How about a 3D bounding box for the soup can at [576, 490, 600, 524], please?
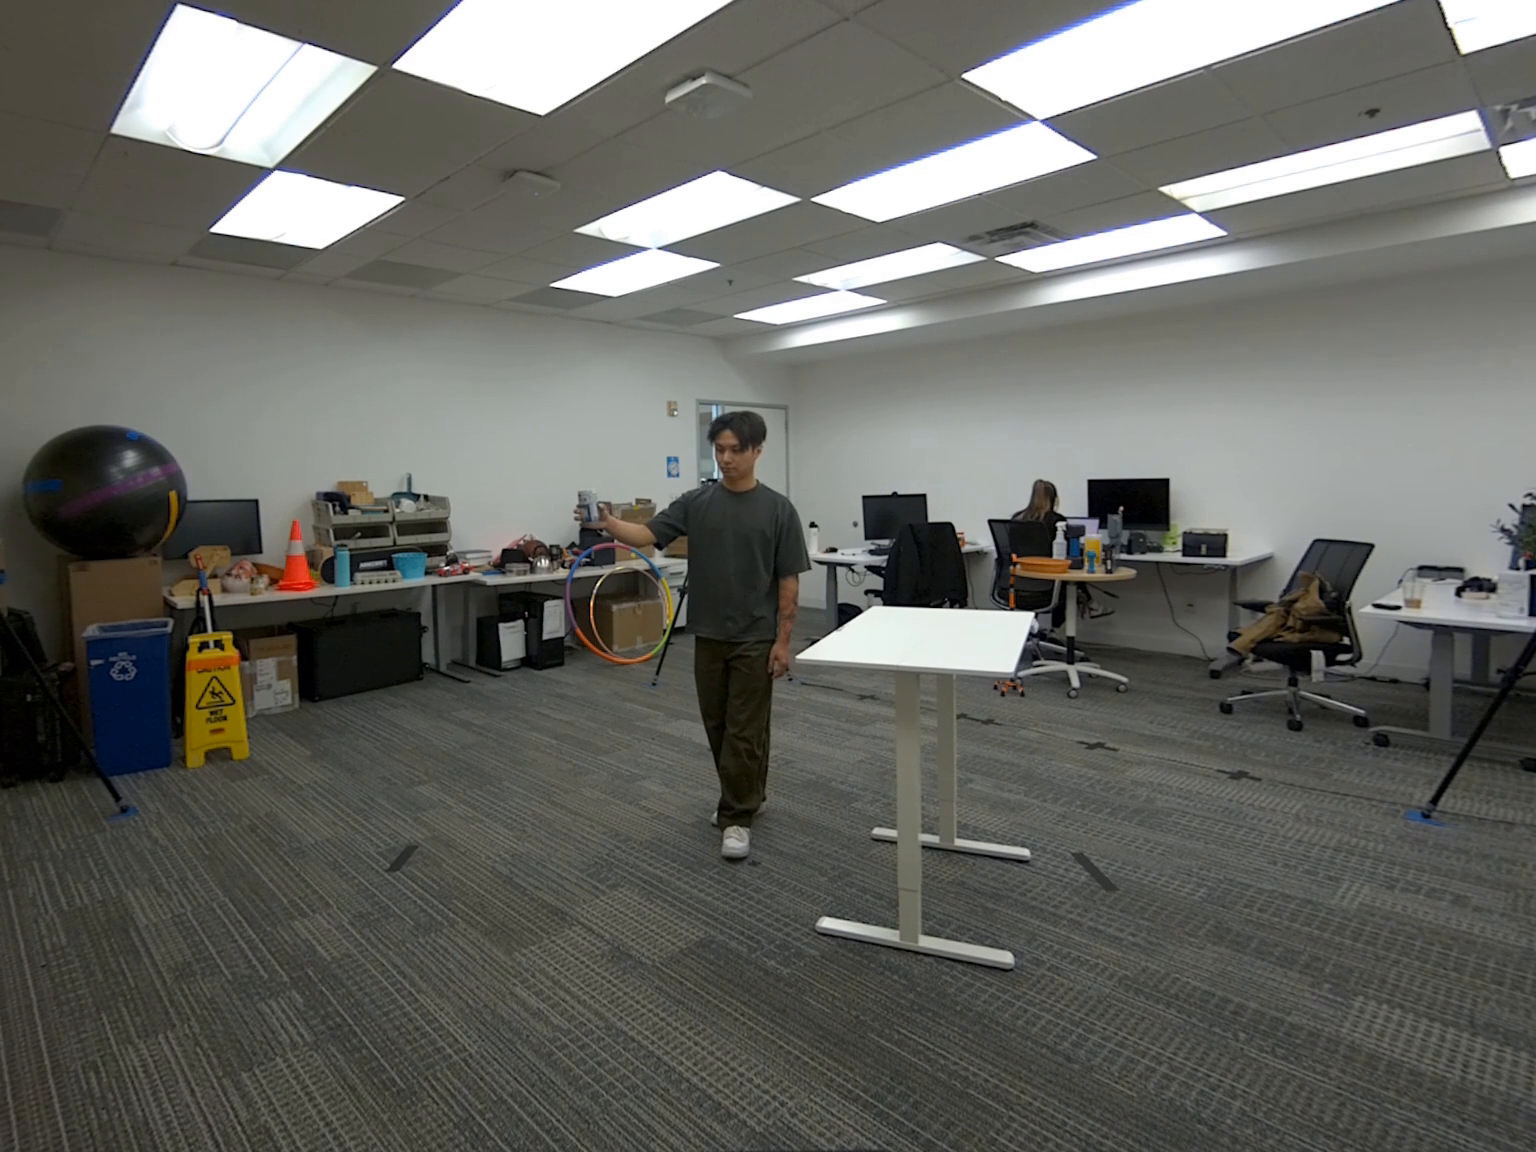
[{"bbox_3d":[-0.629,-0.243,2.976,0.067,0.121,0.067,-6,5,-1],"label":"soup can"}]
